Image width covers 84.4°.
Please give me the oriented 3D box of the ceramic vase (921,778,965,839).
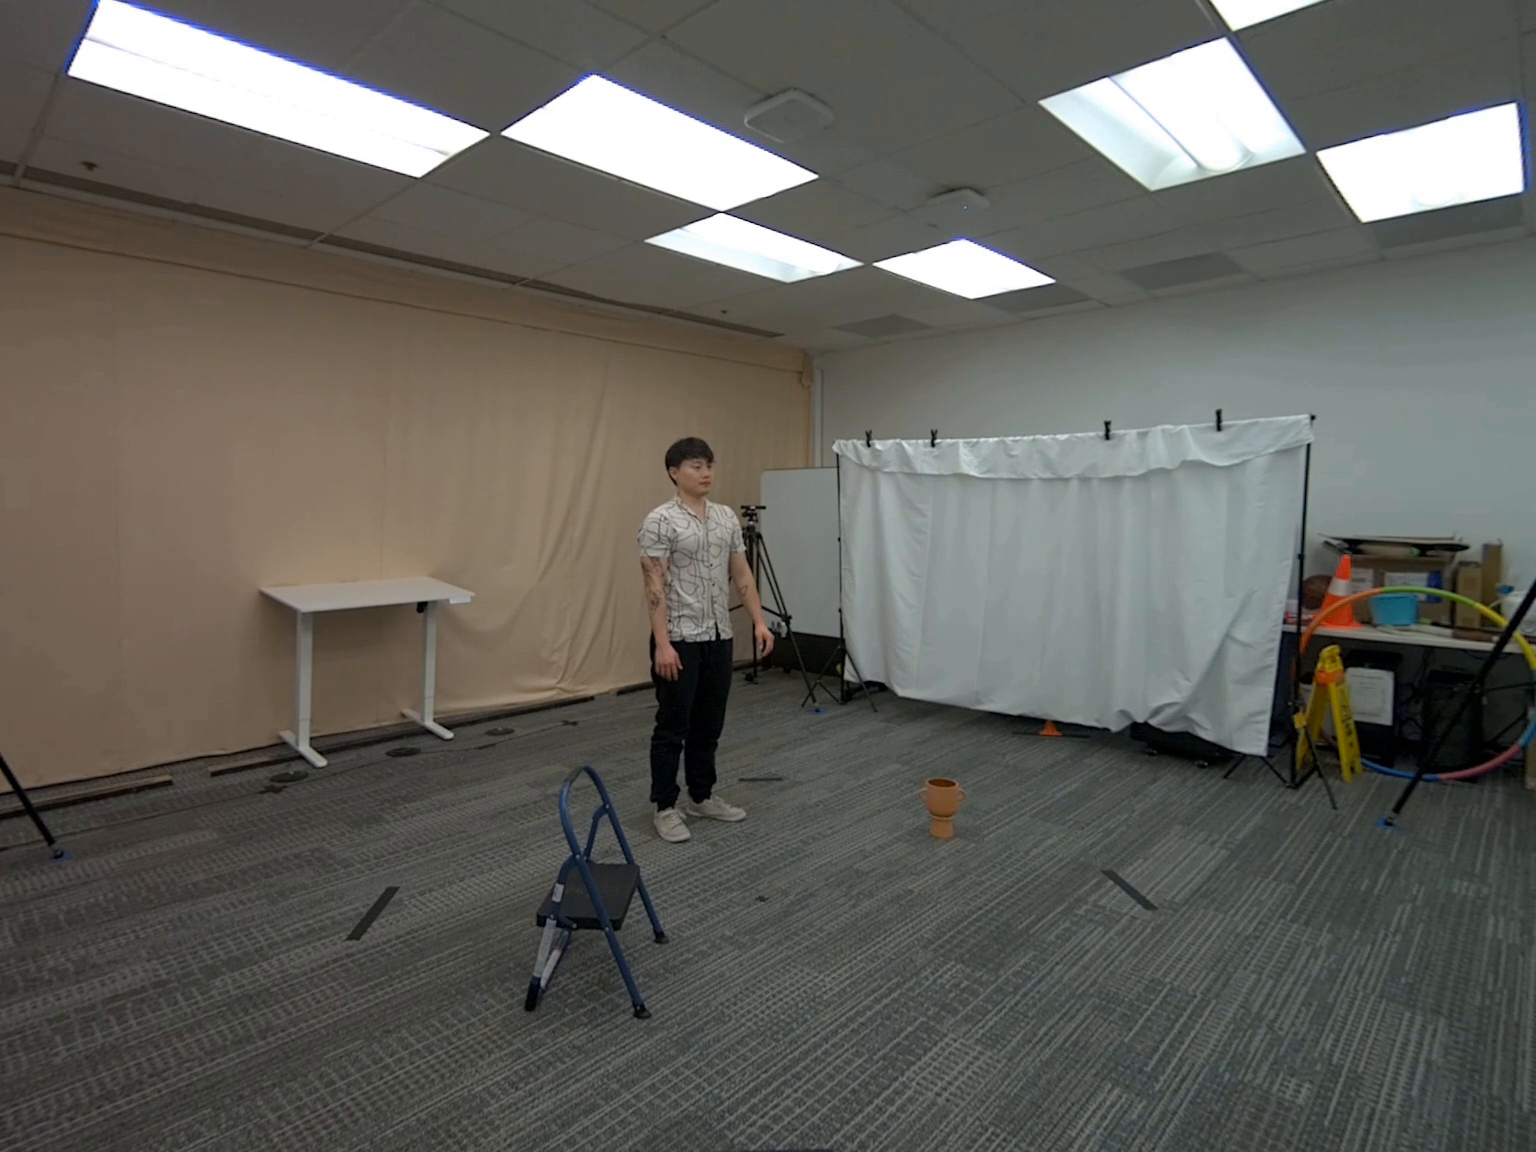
[{"bbox_3d":[0.742,0.984,3.564,0.164,0.219,0.130,3,4,39],"label":"ceramic vase"}]
